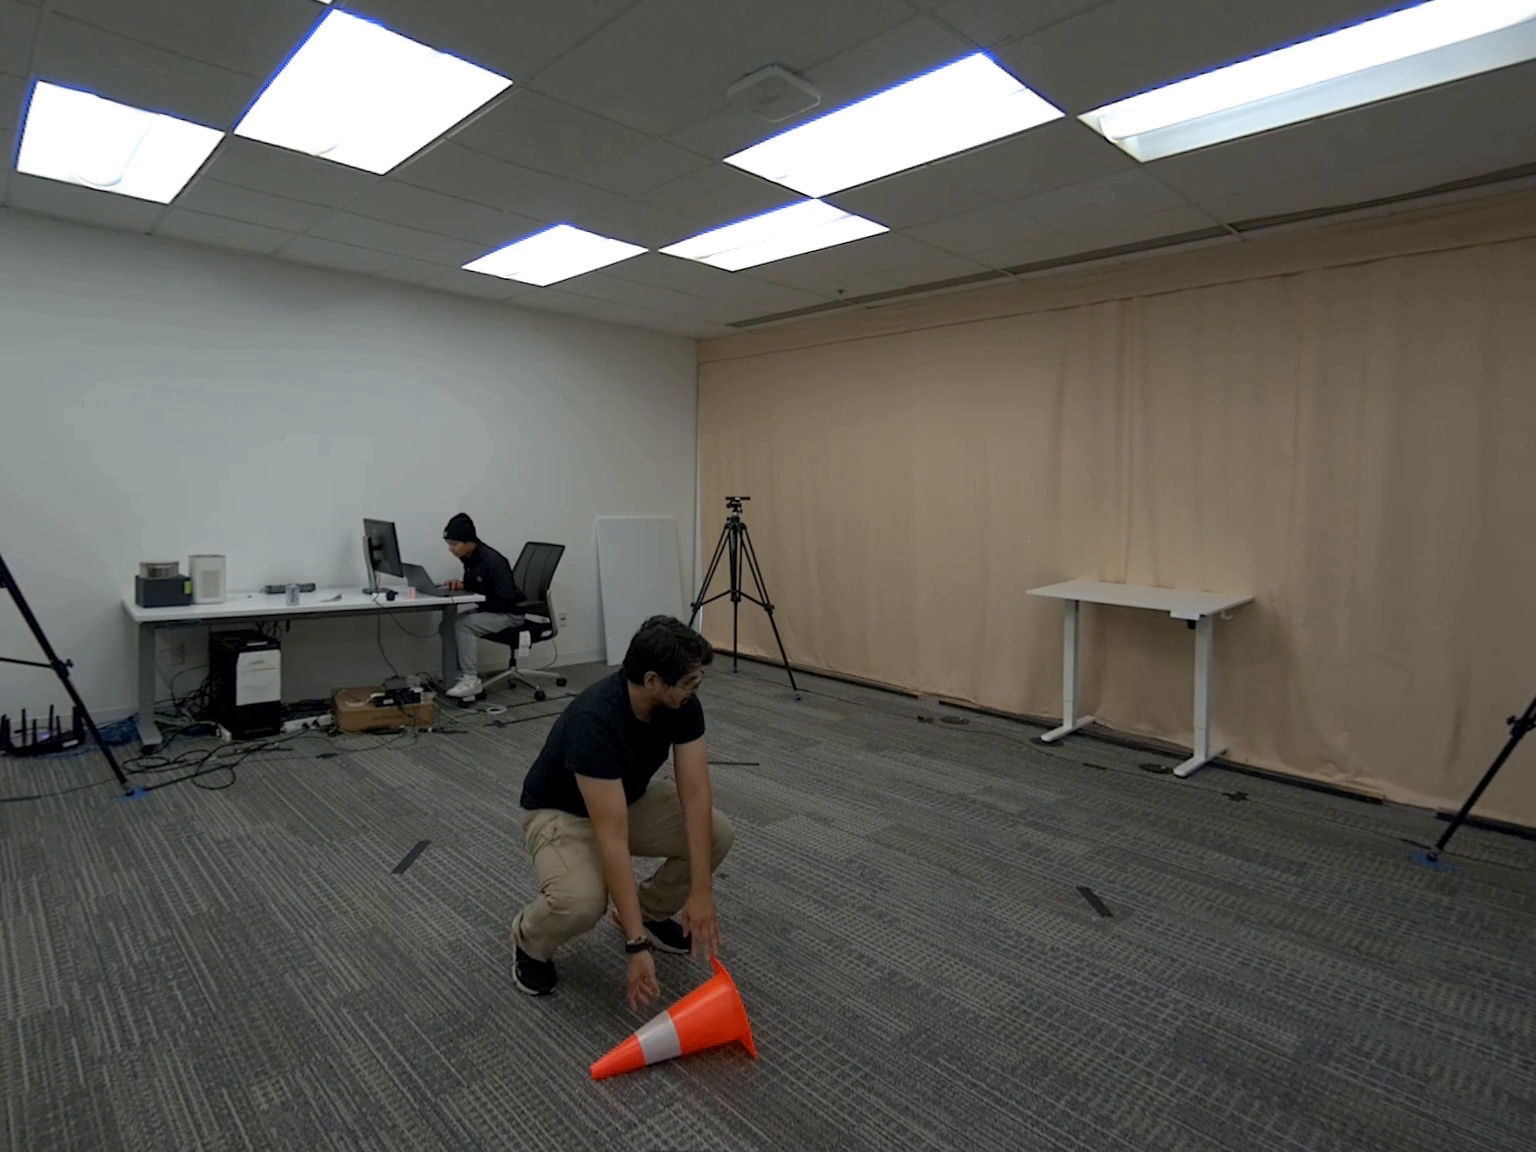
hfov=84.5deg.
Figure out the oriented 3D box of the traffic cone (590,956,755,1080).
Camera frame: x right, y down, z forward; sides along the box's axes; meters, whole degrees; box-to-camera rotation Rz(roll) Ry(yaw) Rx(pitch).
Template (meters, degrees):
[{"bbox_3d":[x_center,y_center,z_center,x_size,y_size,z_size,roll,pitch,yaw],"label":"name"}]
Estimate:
[{"bbox_3d":[-0.263,1.152,2.090,0.379,0.201,0.209,-18,12,-23],"label":"traffic cone"}]
